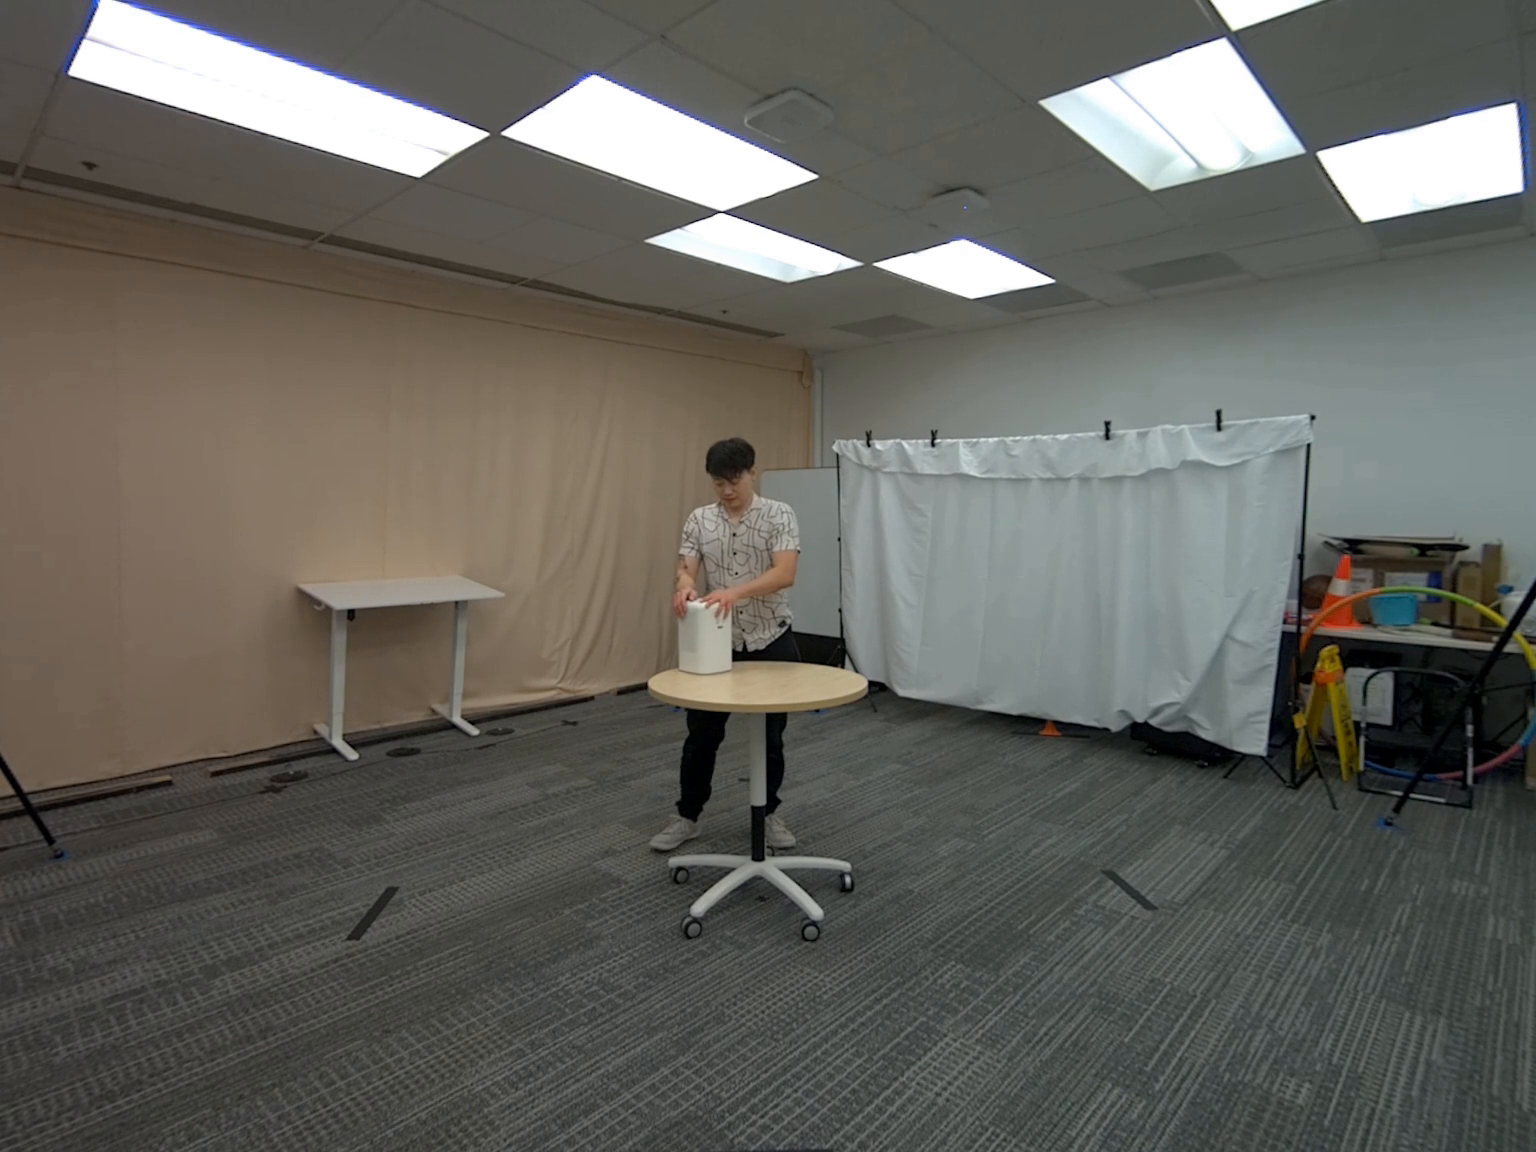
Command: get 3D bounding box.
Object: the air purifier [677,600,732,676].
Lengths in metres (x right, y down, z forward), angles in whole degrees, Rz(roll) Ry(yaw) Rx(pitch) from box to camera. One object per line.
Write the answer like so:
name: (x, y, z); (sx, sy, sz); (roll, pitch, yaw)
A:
air purifier: (-0.232, 0.218, 3.153); (0.166, 0.265, 0.177); (-4, 2, -44)
